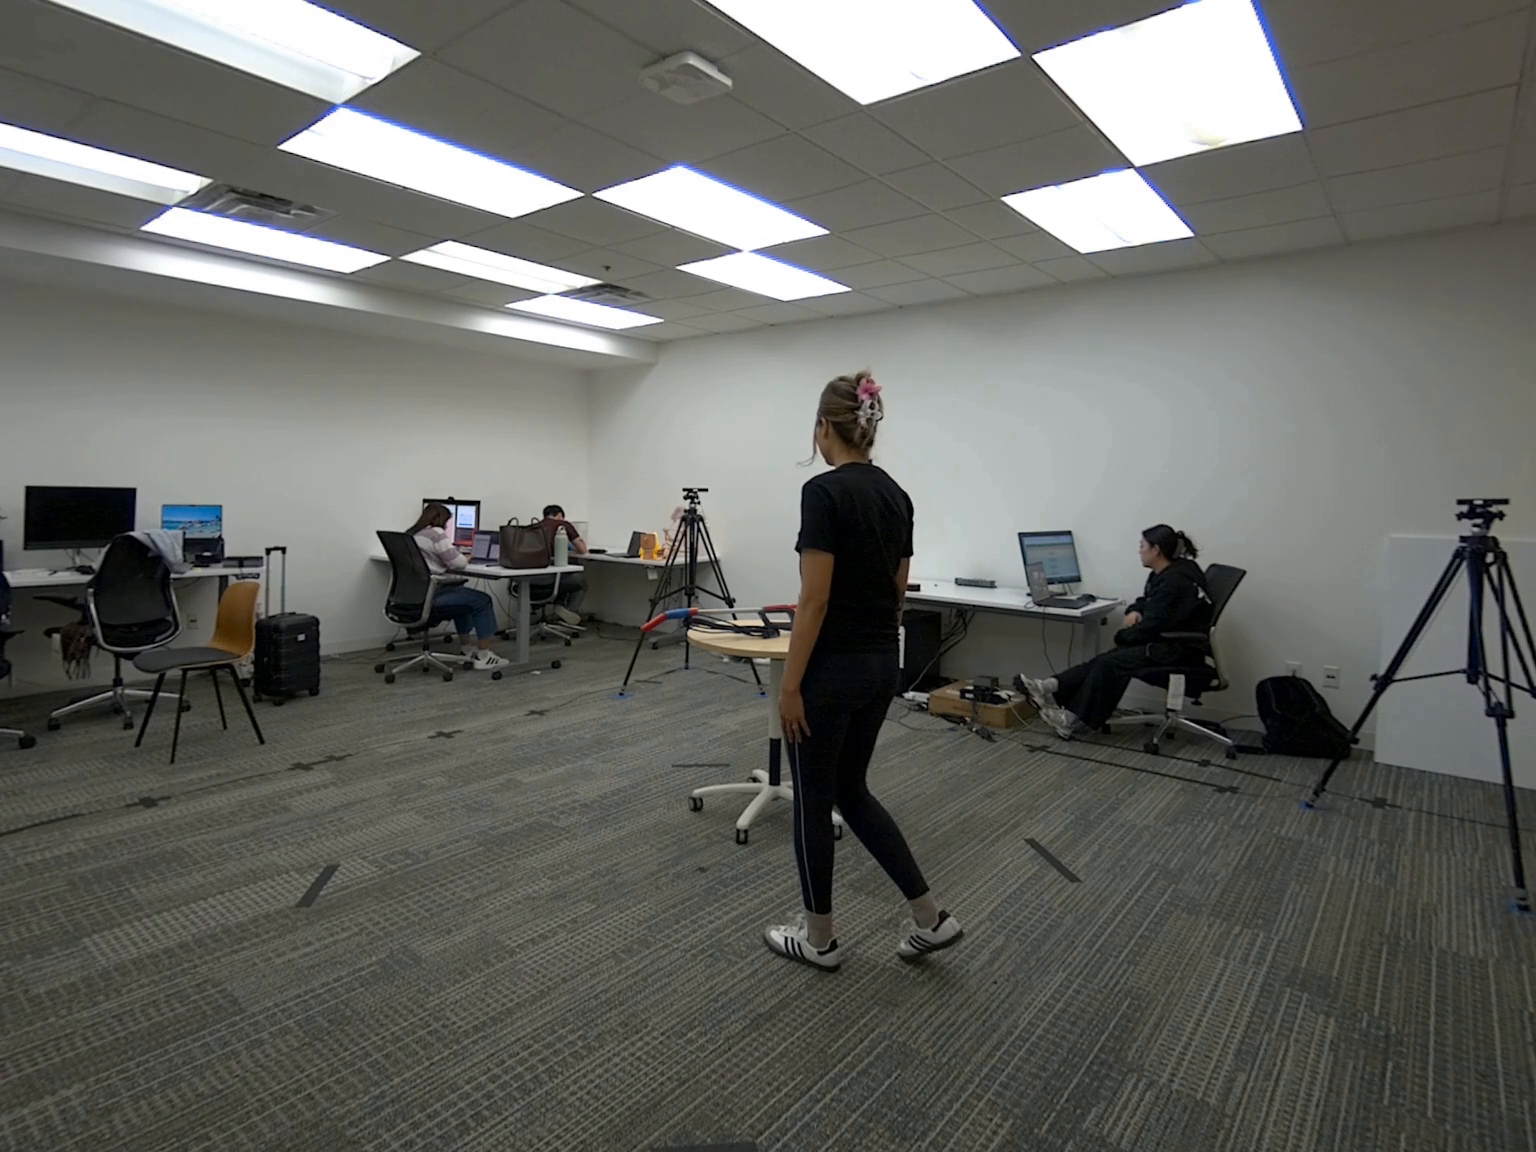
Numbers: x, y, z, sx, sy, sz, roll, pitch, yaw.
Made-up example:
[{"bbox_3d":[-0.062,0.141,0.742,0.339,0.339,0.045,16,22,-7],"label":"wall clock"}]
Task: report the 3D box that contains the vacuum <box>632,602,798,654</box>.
[{"bbox_3d":[-0.033,0.197,3.528,1.023,0.144,0.259,-2,1,-27],"label":"vacuum"}]
